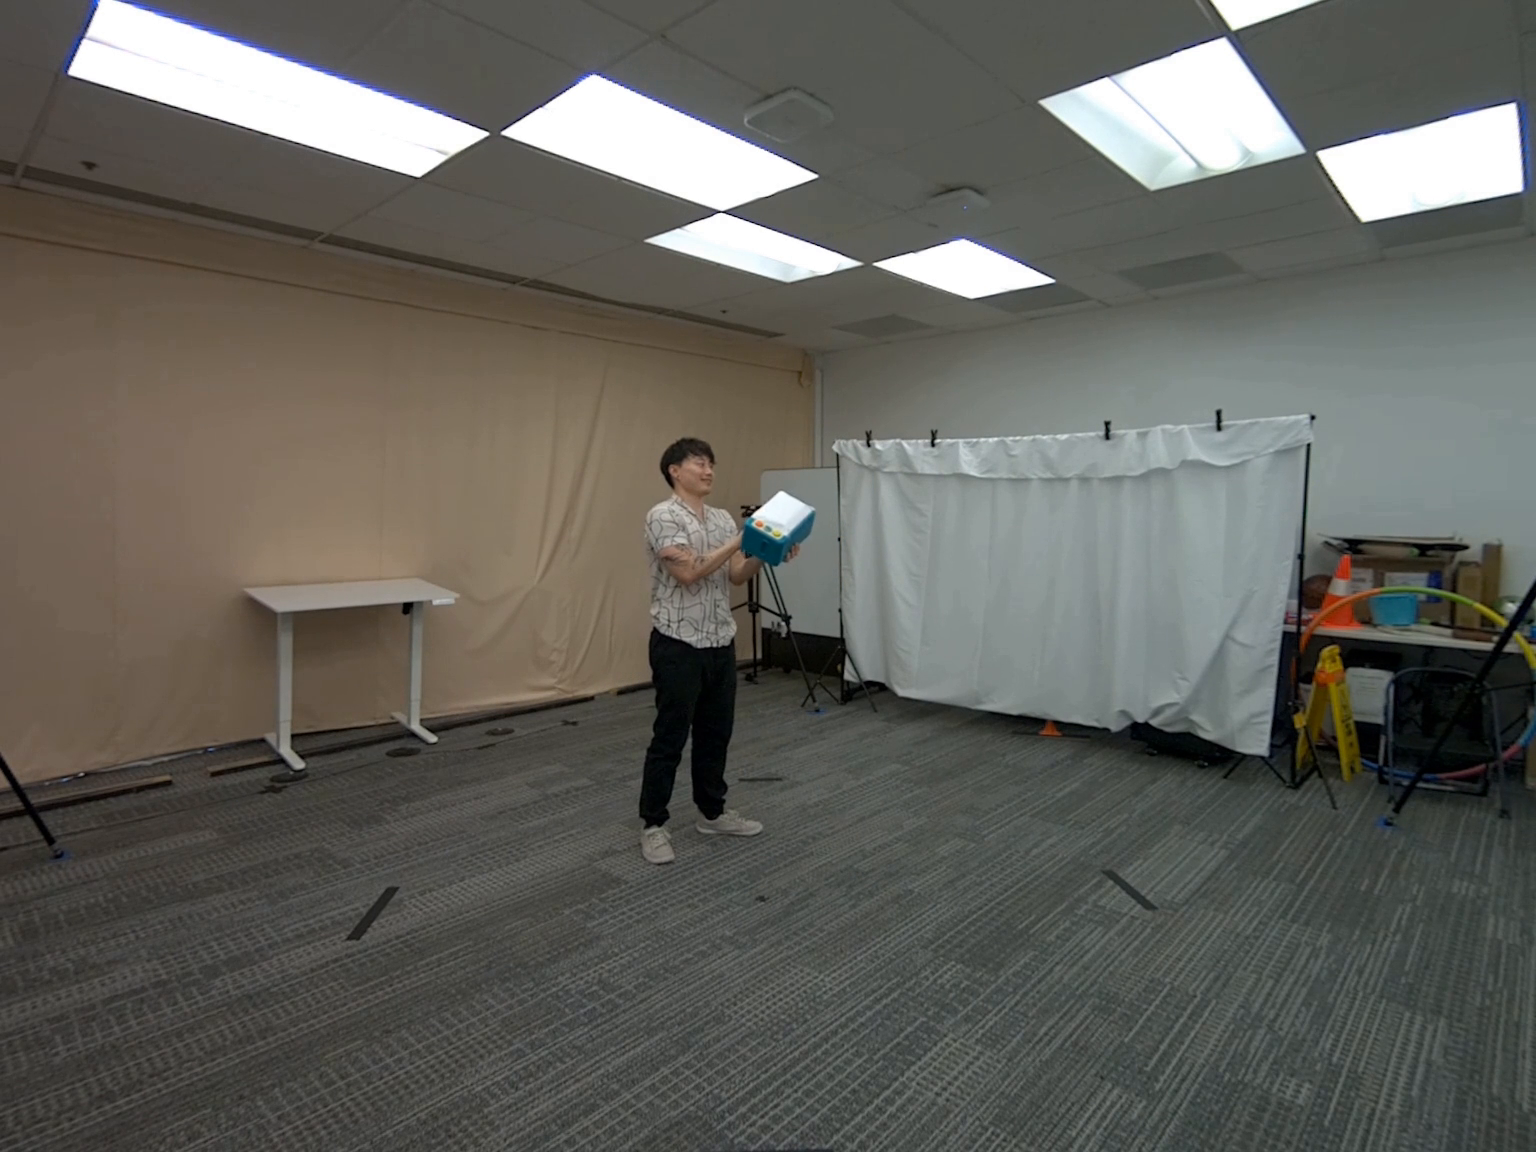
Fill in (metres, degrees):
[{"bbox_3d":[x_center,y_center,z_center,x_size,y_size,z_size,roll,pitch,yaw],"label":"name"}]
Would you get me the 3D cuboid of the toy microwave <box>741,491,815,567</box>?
[{"bbox_3d":[0.043,-0.194,3.261,0.188,0.150,0.283,29,46,18],"label":"toy microwave"}]
